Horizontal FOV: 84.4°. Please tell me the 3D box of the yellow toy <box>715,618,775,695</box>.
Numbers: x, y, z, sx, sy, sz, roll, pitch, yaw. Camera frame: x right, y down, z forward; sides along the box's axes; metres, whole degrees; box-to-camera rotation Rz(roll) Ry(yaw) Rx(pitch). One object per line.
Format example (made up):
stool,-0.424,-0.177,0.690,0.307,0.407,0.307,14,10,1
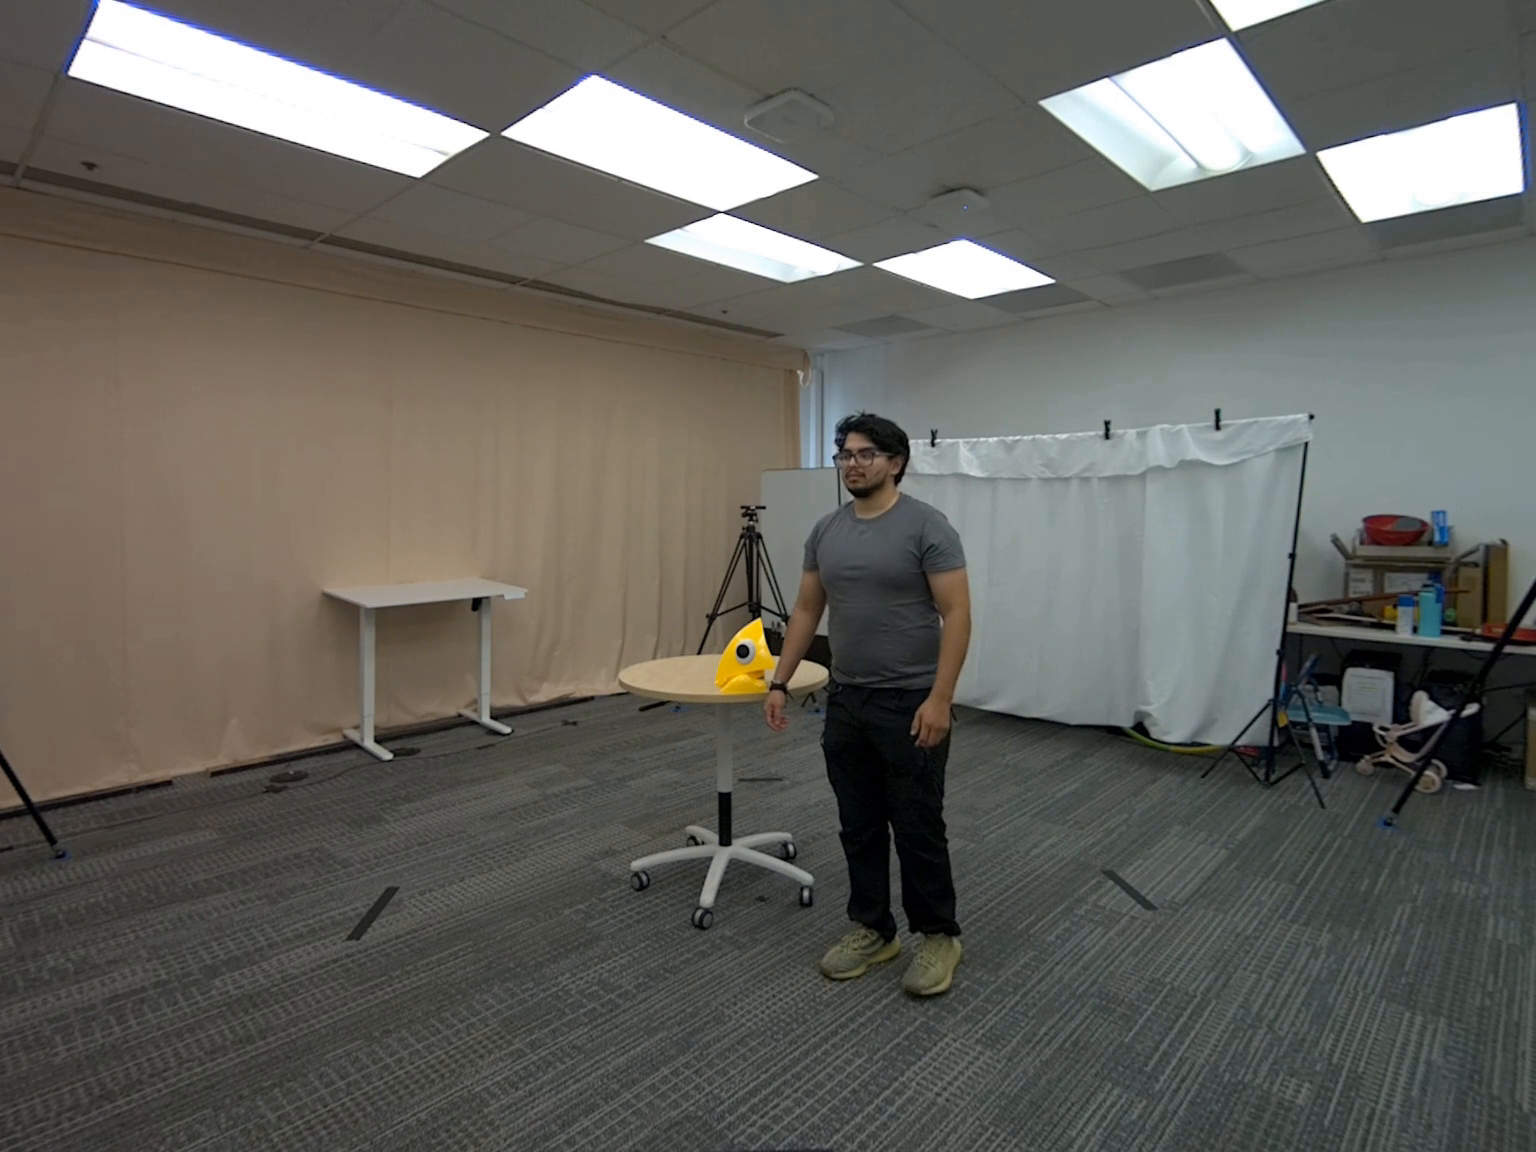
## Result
yellow toy,-0.082,0.258,2.809,0.191,0.230,0.207,-1,3,-10
